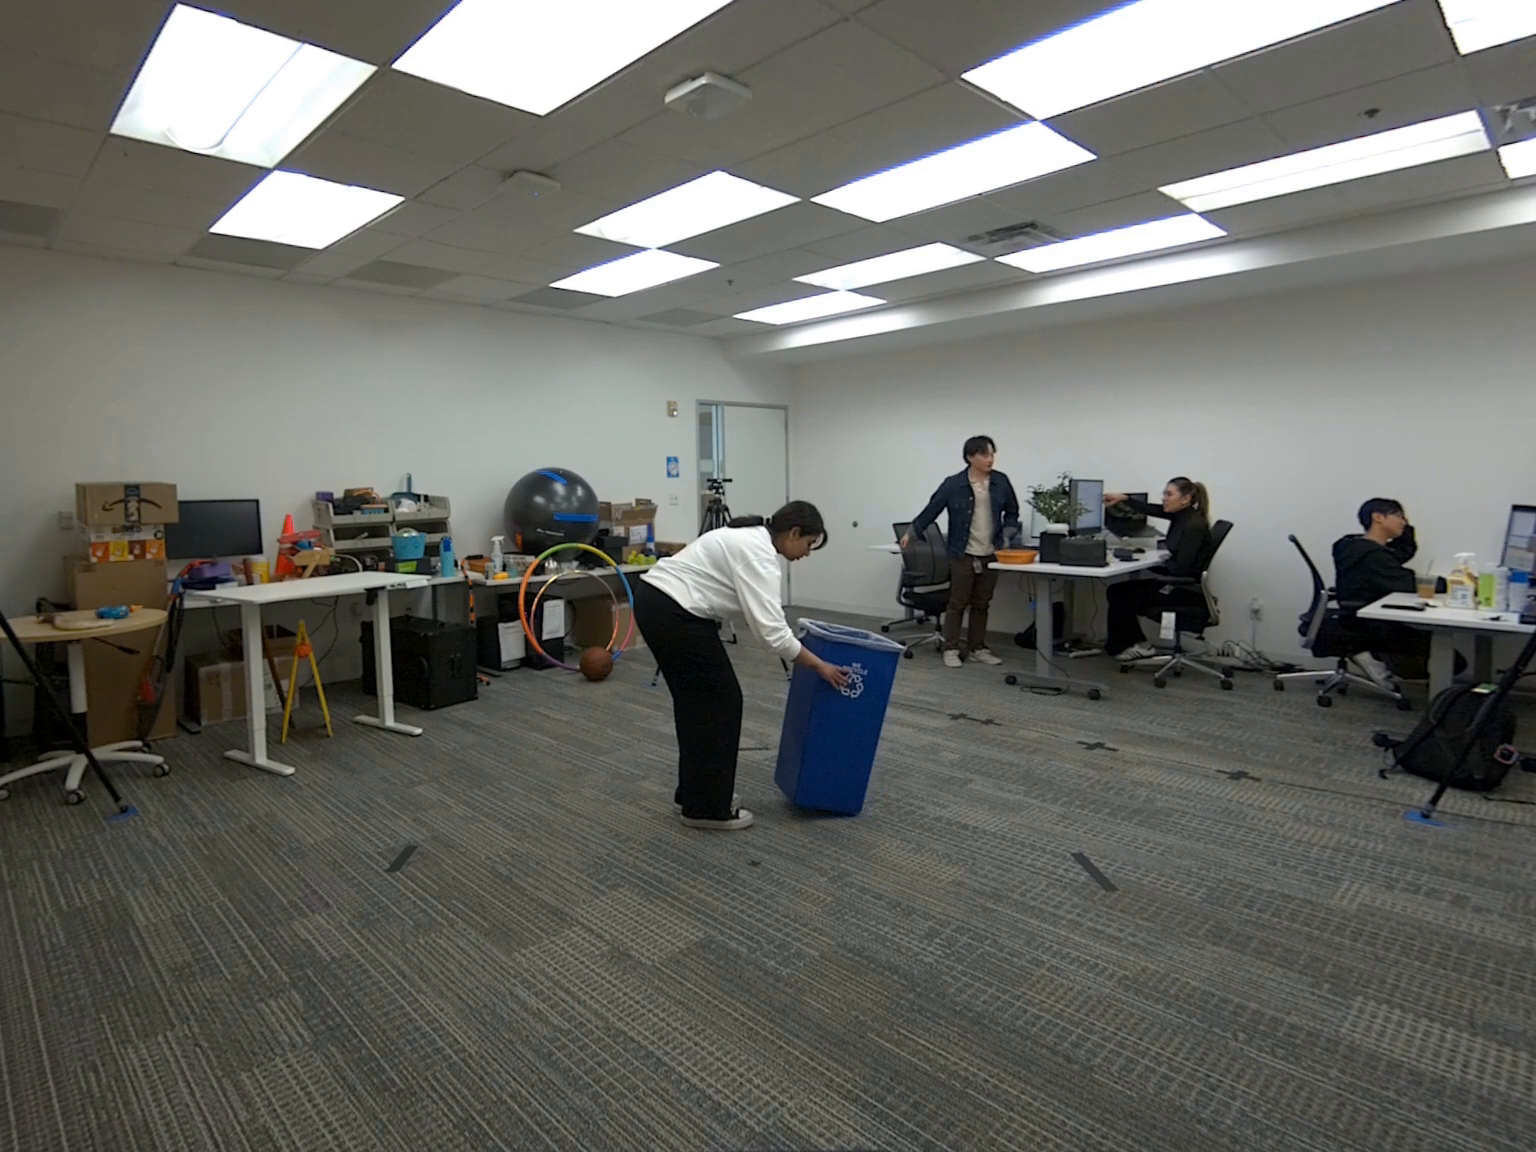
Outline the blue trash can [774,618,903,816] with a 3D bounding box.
[{"bbox_3d":[0.273,0.582,3.621,0.368,0.713,0.385,10,2,-16],"label":"blue trash can"}]
